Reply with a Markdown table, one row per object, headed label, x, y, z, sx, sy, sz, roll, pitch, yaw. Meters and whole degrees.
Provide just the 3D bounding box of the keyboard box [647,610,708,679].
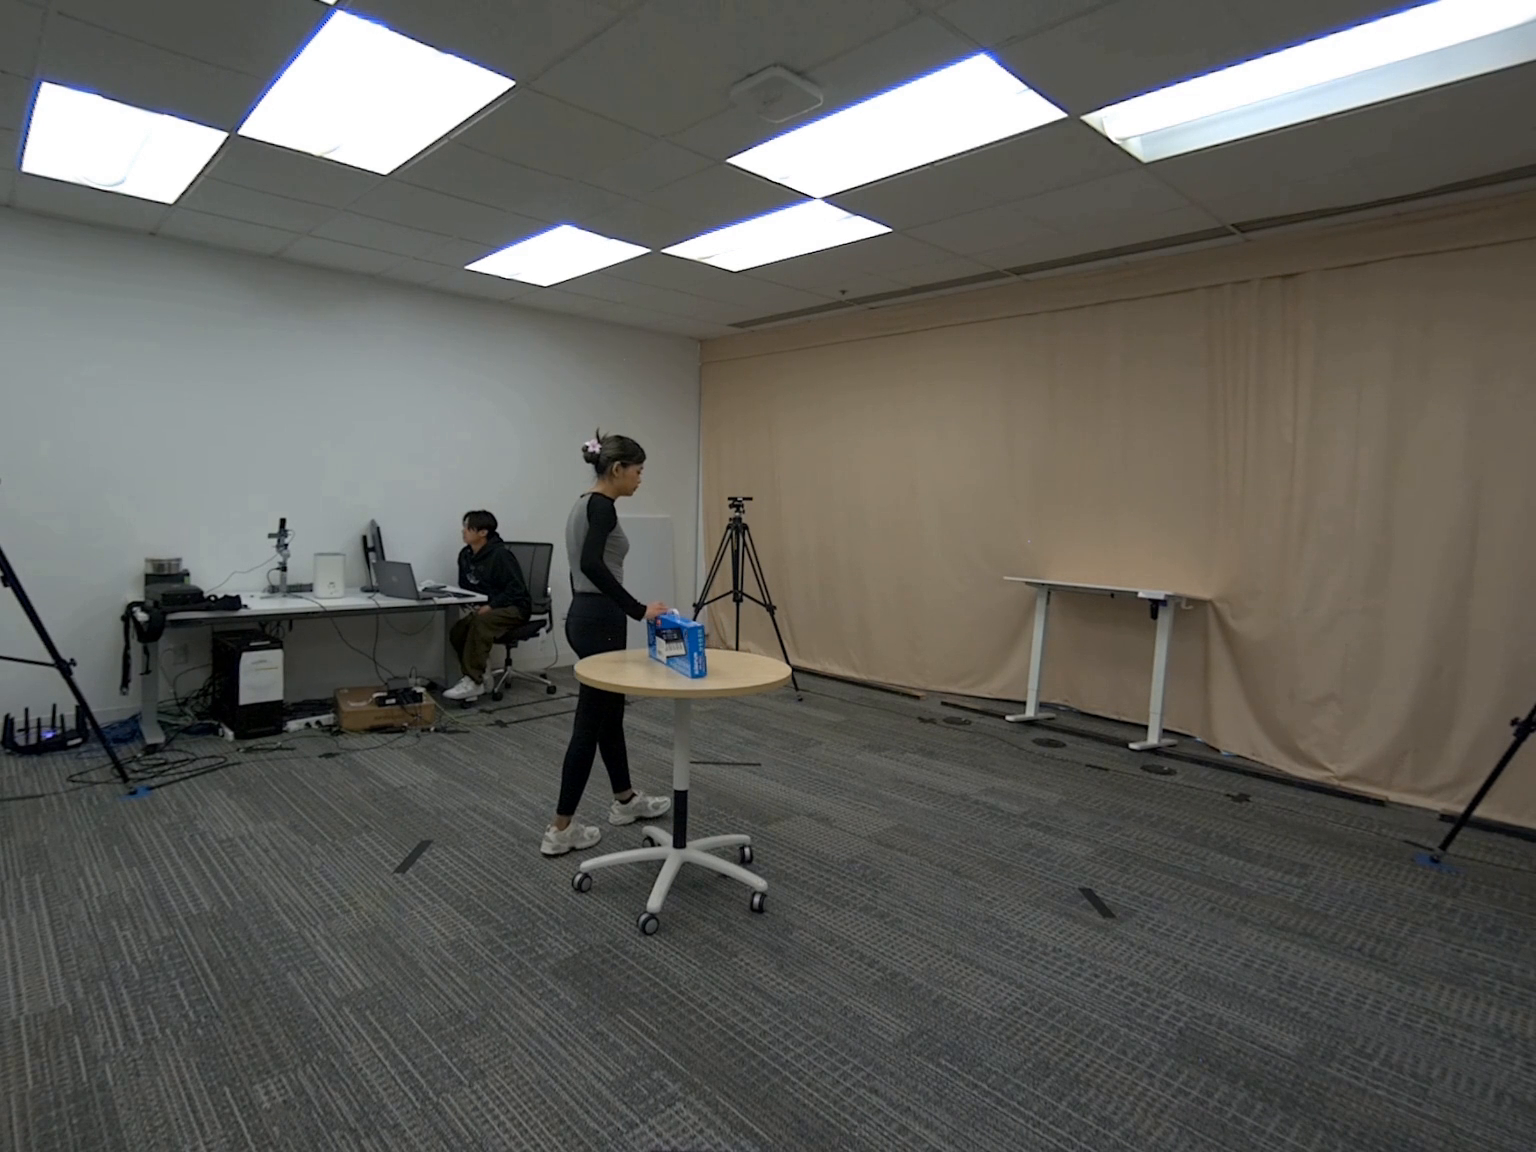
| label | x | y | z | sx | sy | sz | roll | pitch | yaw |
| --- | --- | --- | --- | --- | --- | --- | --- | --- | --- |
| keyboard box | -0.336 | 0.235 | 2.973 | 0.058 | 0.175 | 0.445 | -4 | 6 | -25 |
